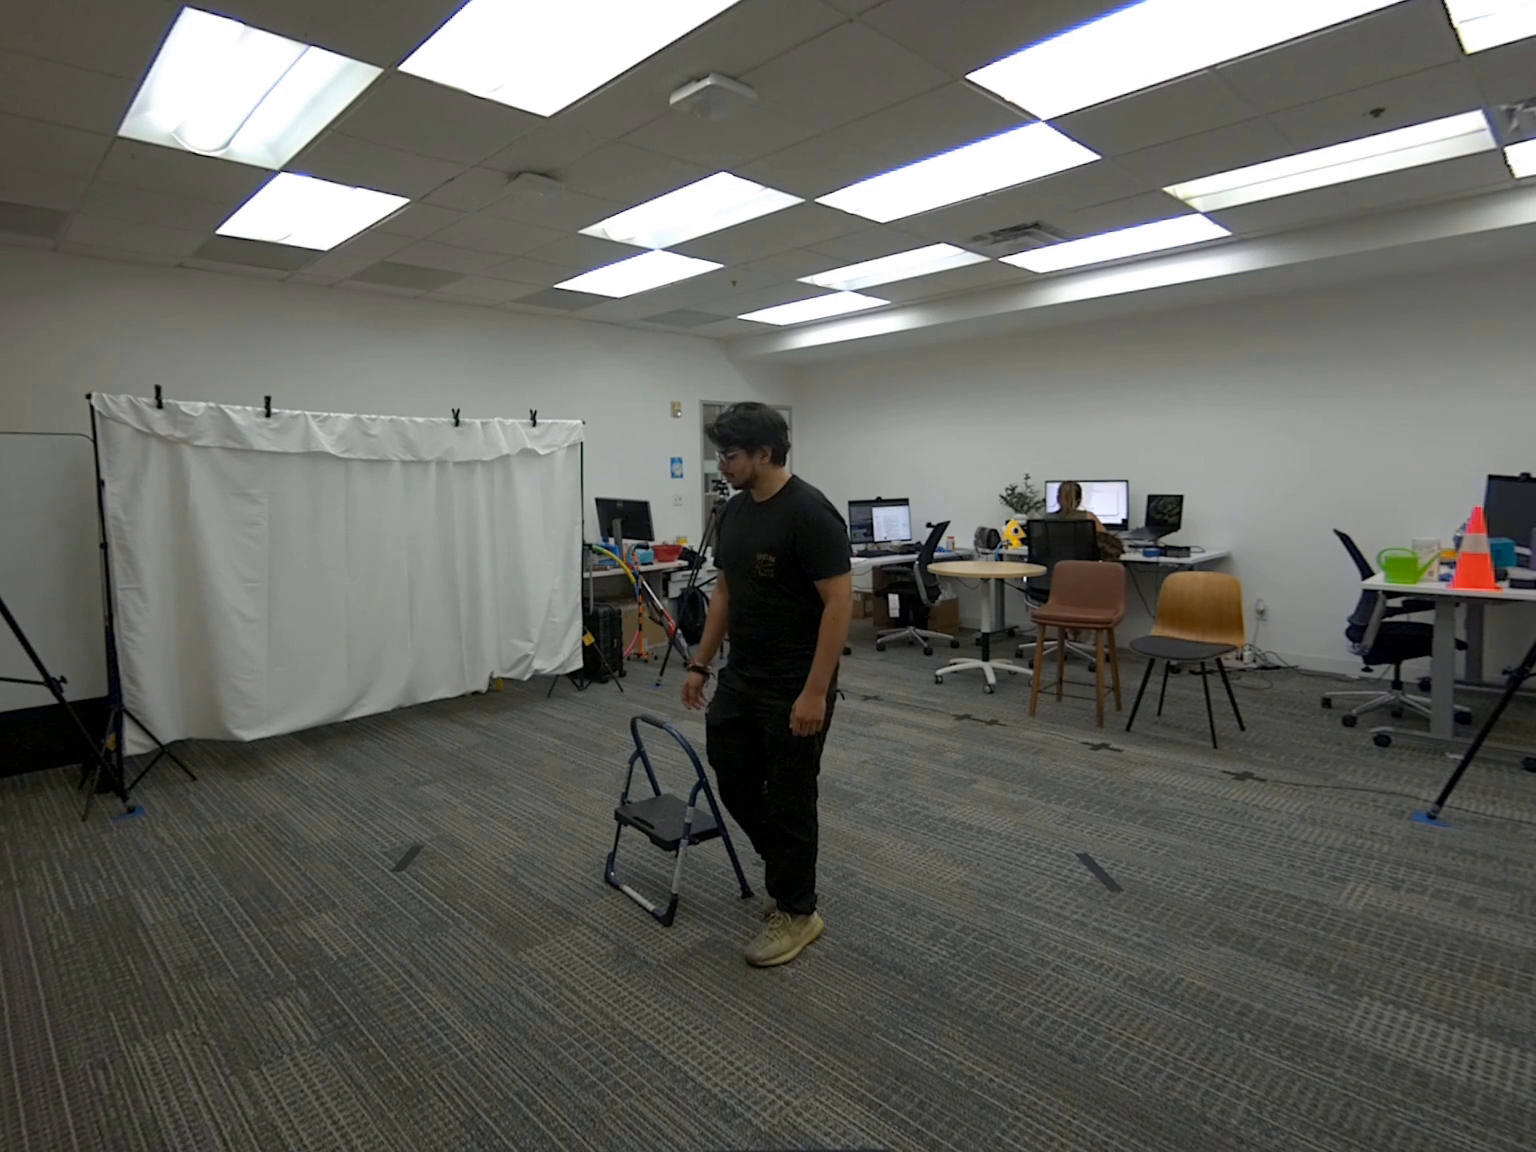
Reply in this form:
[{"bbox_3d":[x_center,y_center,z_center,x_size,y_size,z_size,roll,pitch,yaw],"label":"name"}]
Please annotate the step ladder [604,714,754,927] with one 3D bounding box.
[{"bbox_3d":[-0.318,0.769,2.921,0.340,0.604,0.444,-4,6,-39],"label":"step ladder"}]
